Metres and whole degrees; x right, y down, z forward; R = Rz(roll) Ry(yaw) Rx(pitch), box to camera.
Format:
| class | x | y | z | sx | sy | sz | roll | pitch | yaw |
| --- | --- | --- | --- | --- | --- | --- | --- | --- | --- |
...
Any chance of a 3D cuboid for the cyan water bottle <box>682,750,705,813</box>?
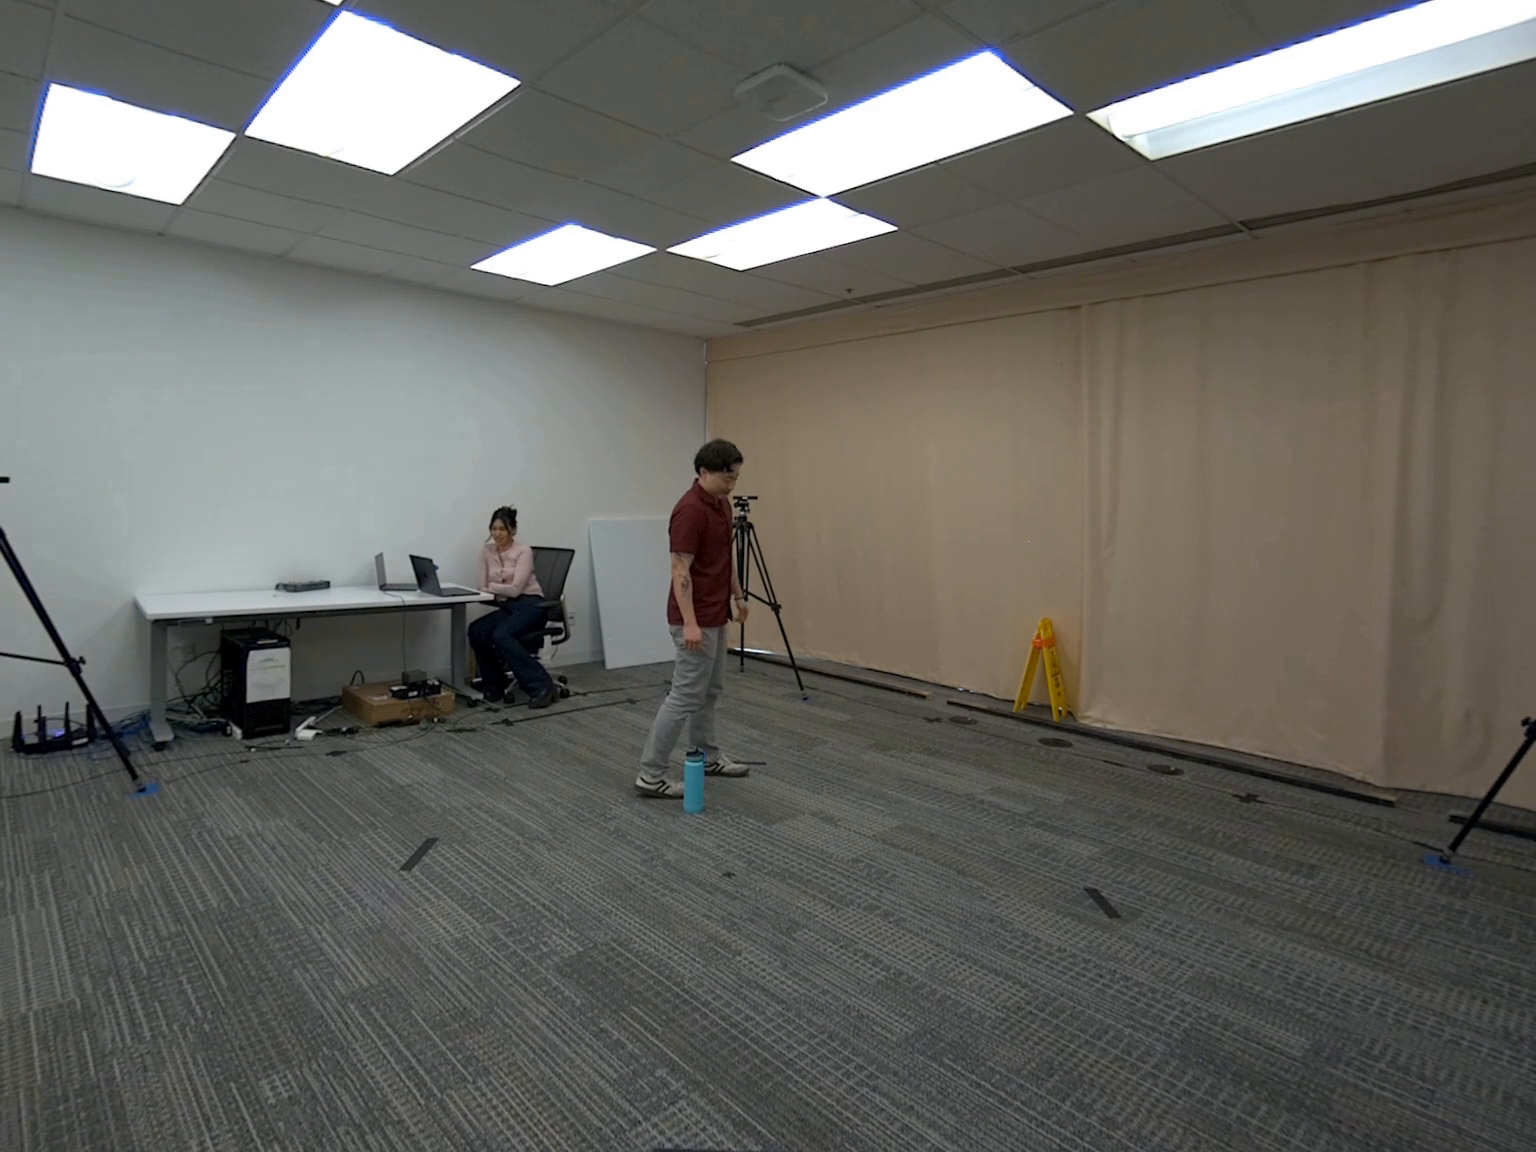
| class | x | y | z | sx | sy | sz | roll | pitch | yaw |
| --- | --- | --- | --- | --- | --- | --- | --- | --- | --- |
| cyan water bottle | -0.349 | 0.907 | 3.748 | 0.092 | 0.283 | 0.092 | 2 | 3 | -1 |
